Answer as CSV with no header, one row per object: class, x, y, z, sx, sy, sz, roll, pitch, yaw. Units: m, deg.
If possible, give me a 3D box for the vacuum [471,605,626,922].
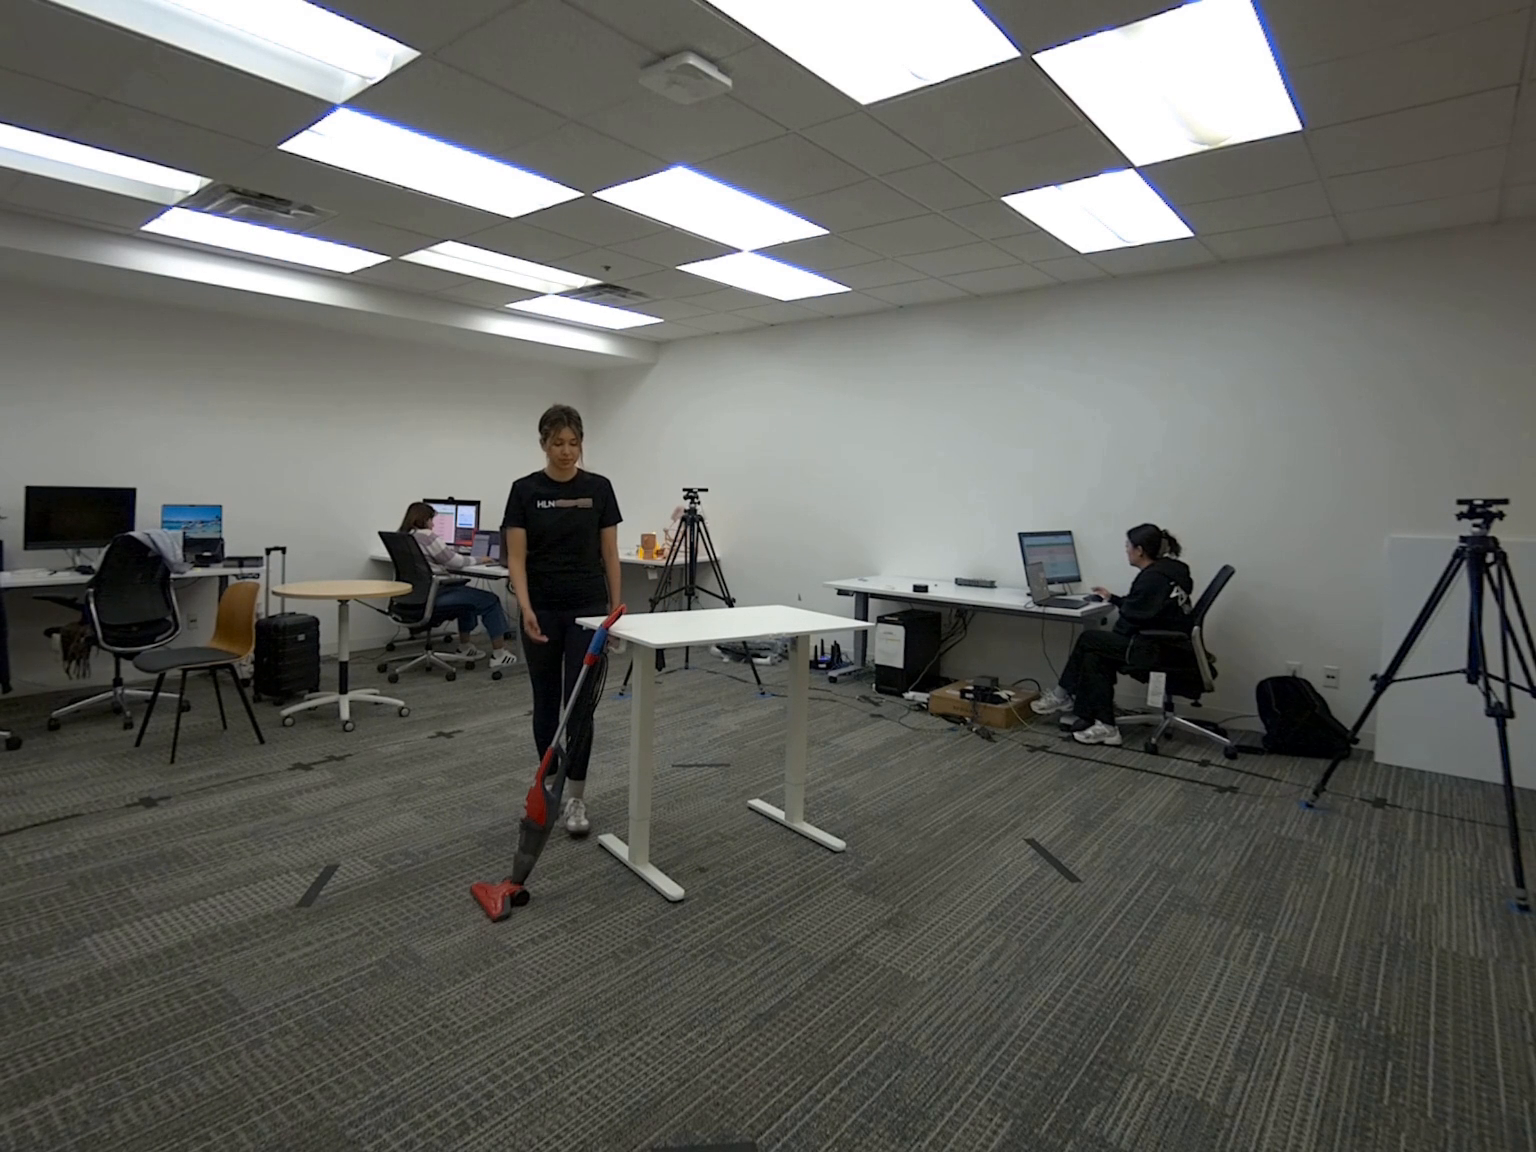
vacuum,-0.717,0.606,2.938,0.262,1.055,0.138,10,-14,41
